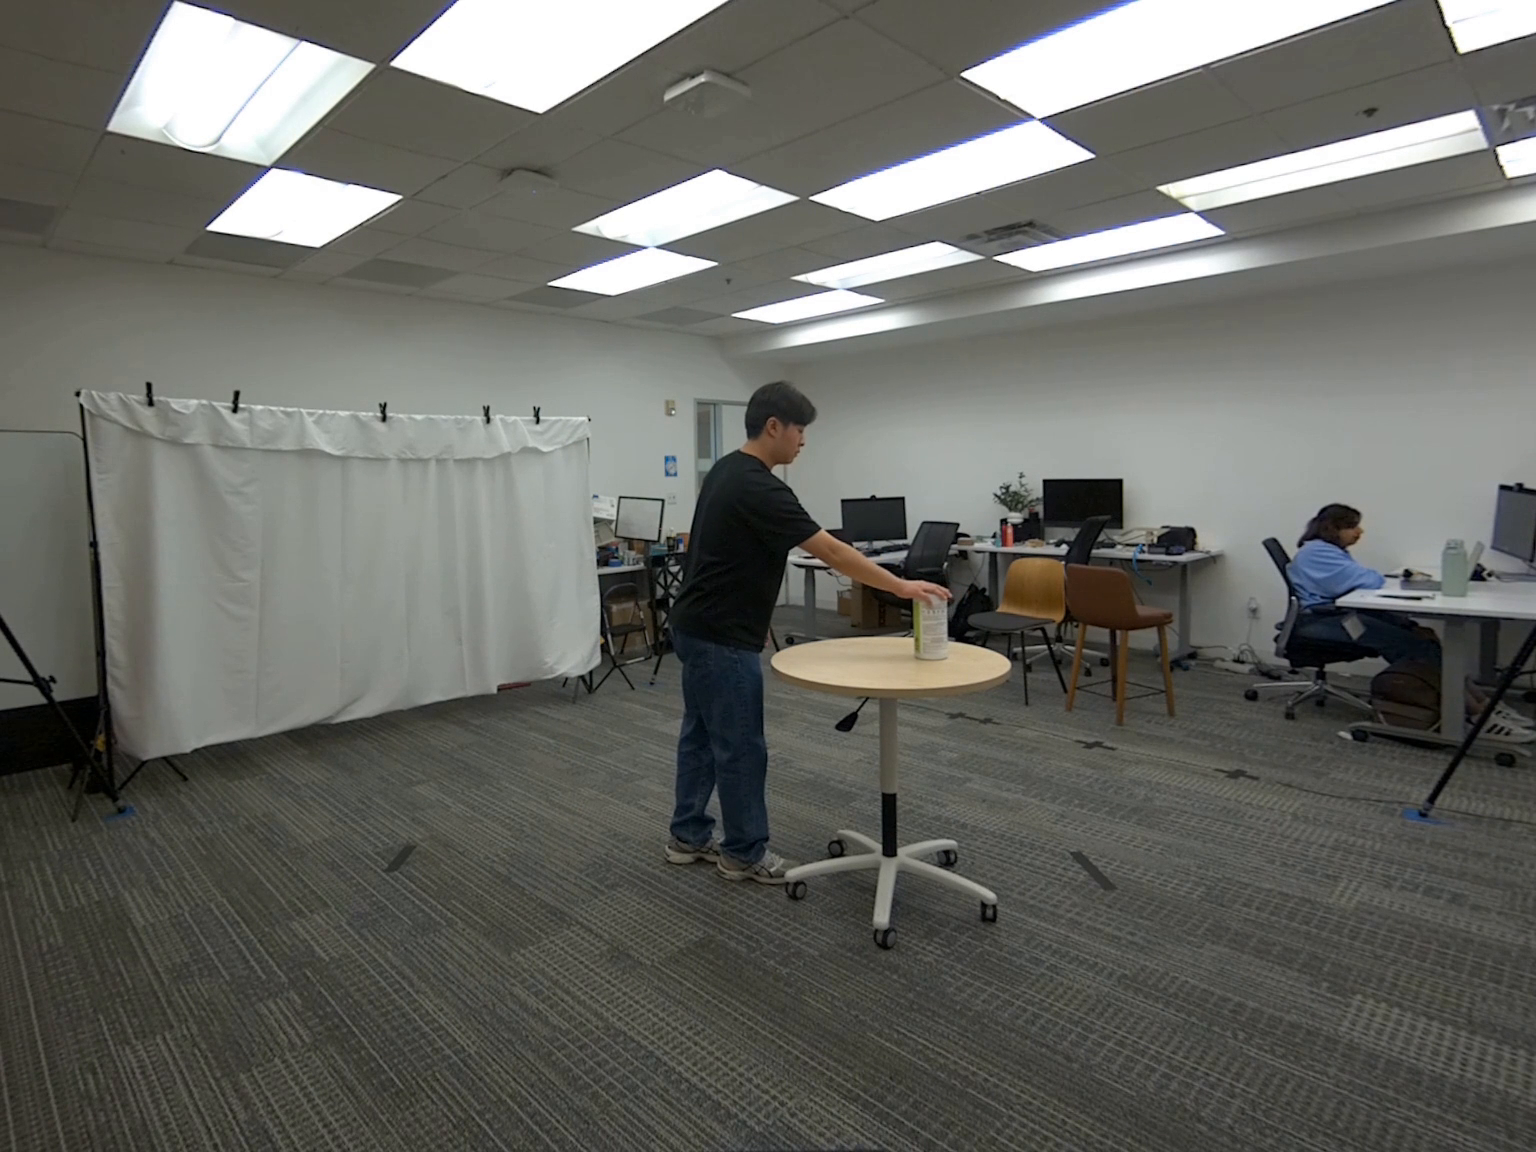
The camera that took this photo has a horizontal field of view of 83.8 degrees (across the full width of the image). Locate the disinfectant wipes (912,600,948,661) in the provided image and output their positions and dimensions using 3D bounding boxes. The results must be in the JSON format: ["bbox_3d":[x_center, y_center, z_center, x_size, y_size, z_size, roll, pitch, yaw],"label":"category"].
[{"bbox_3d":[0.538,0.161,2.802,0.118,0.217,0.118,-2,3,-2],"label":"disinfectant wipes"}]
